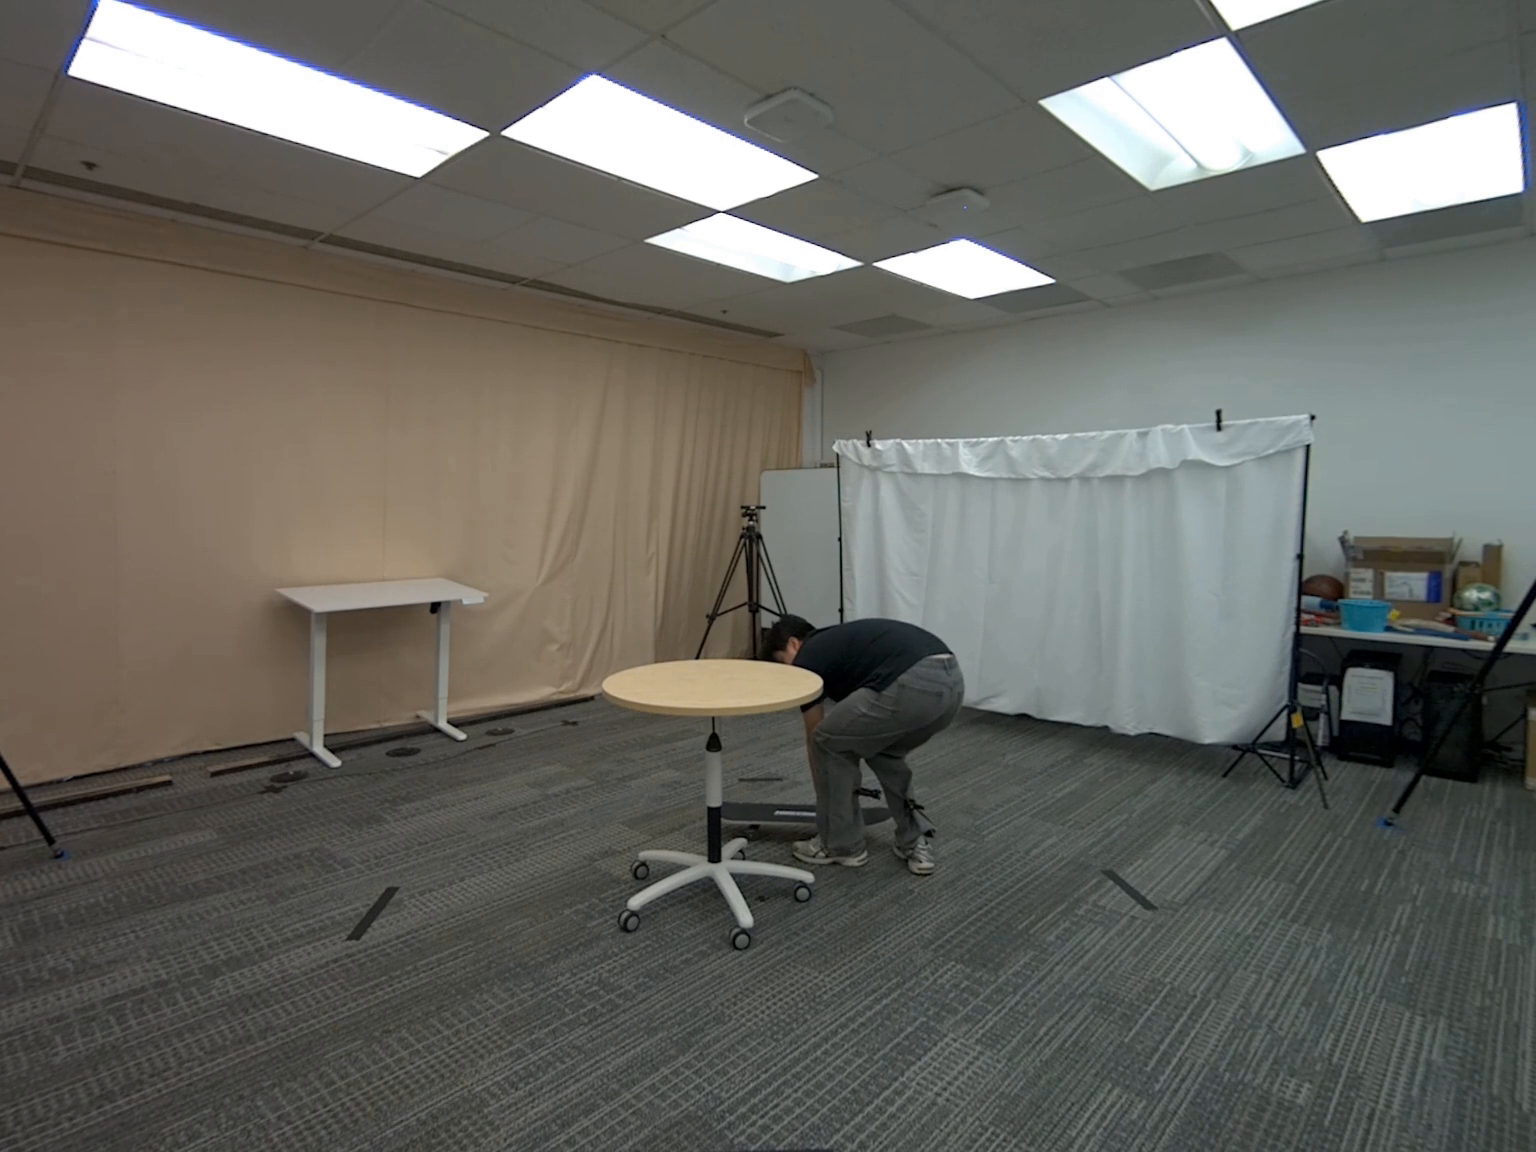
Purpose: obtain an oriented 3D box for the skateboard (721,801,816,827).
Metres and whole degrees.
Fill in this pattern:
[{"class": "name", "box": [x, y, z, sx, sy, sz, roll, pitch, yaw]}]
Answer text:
[{"class": "skateboard", "box": [0.128, 1.033, 3.553, 0.792, 0.110, 0.192, 0, 7, 8]}]
